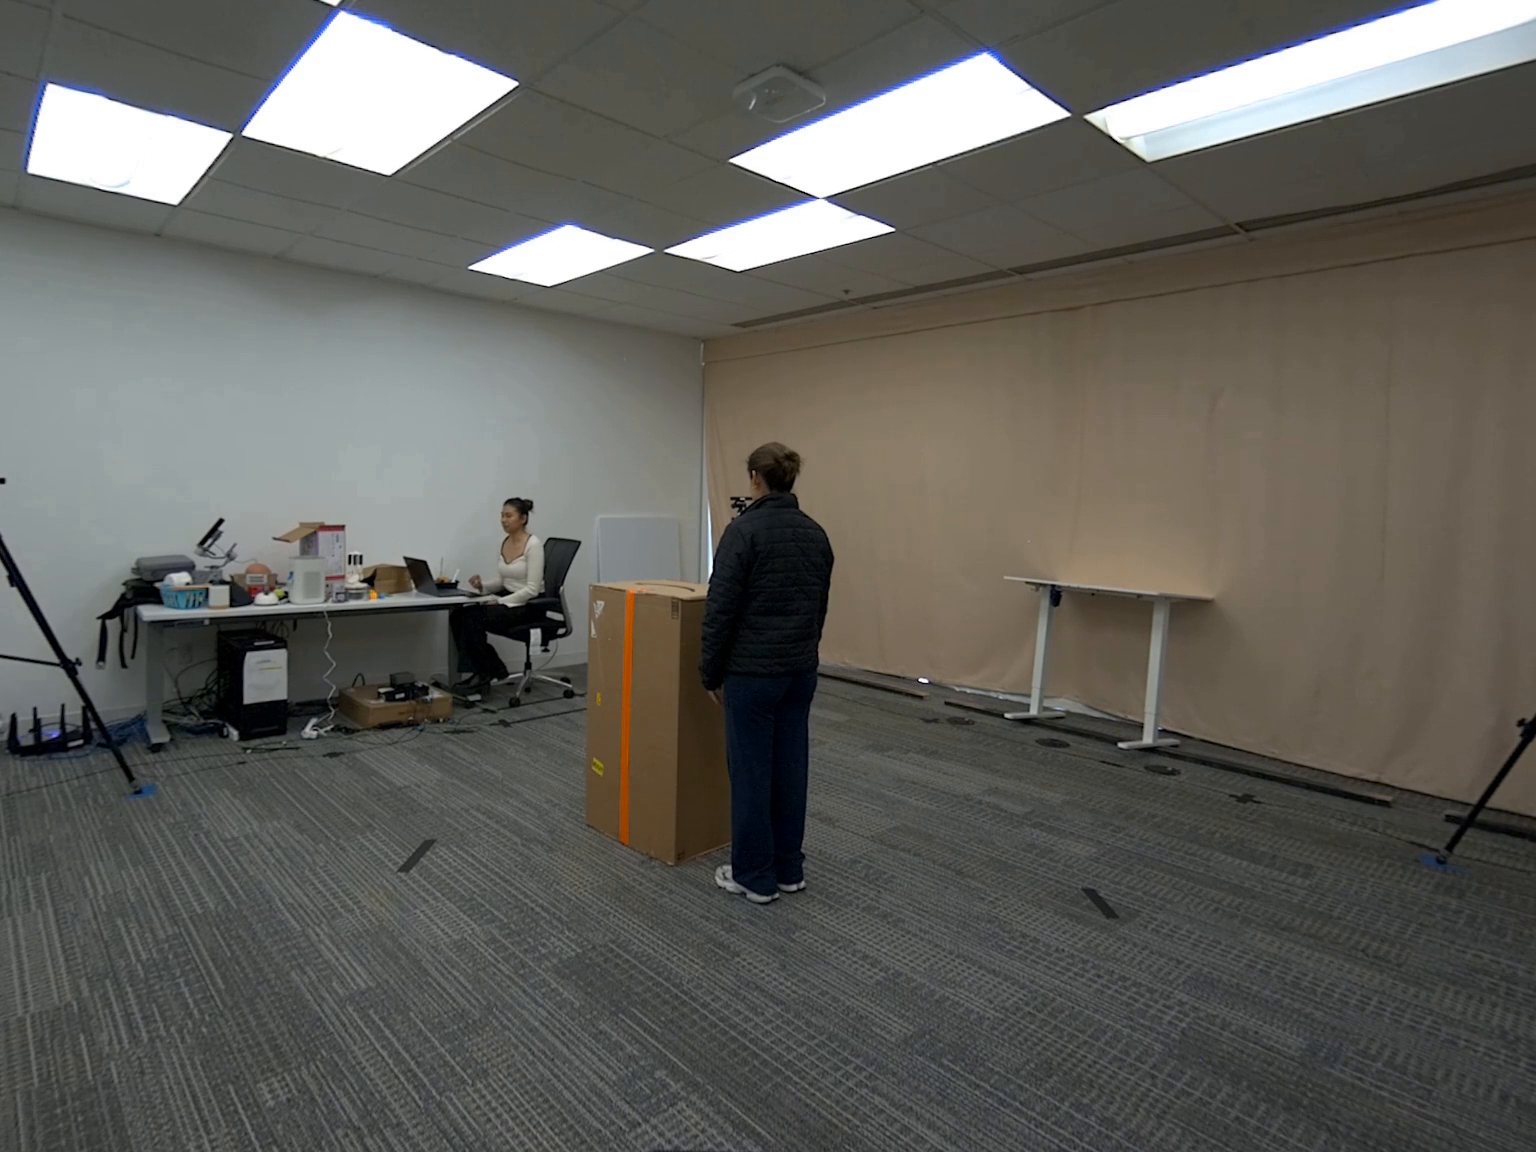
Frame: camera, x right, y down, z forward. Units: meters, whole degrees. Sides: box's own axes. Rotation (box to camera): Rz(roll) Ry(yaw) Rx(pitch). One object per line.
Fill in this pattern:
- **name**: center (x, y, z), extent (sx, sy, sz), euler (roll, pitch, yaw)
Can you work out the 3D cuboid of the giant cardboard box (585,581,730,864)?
- **giant cardboard box**: center (-0.417, 0.560, 3.477), extent (0.592, 1.023, 0.416), euler (5, 5, 44)
